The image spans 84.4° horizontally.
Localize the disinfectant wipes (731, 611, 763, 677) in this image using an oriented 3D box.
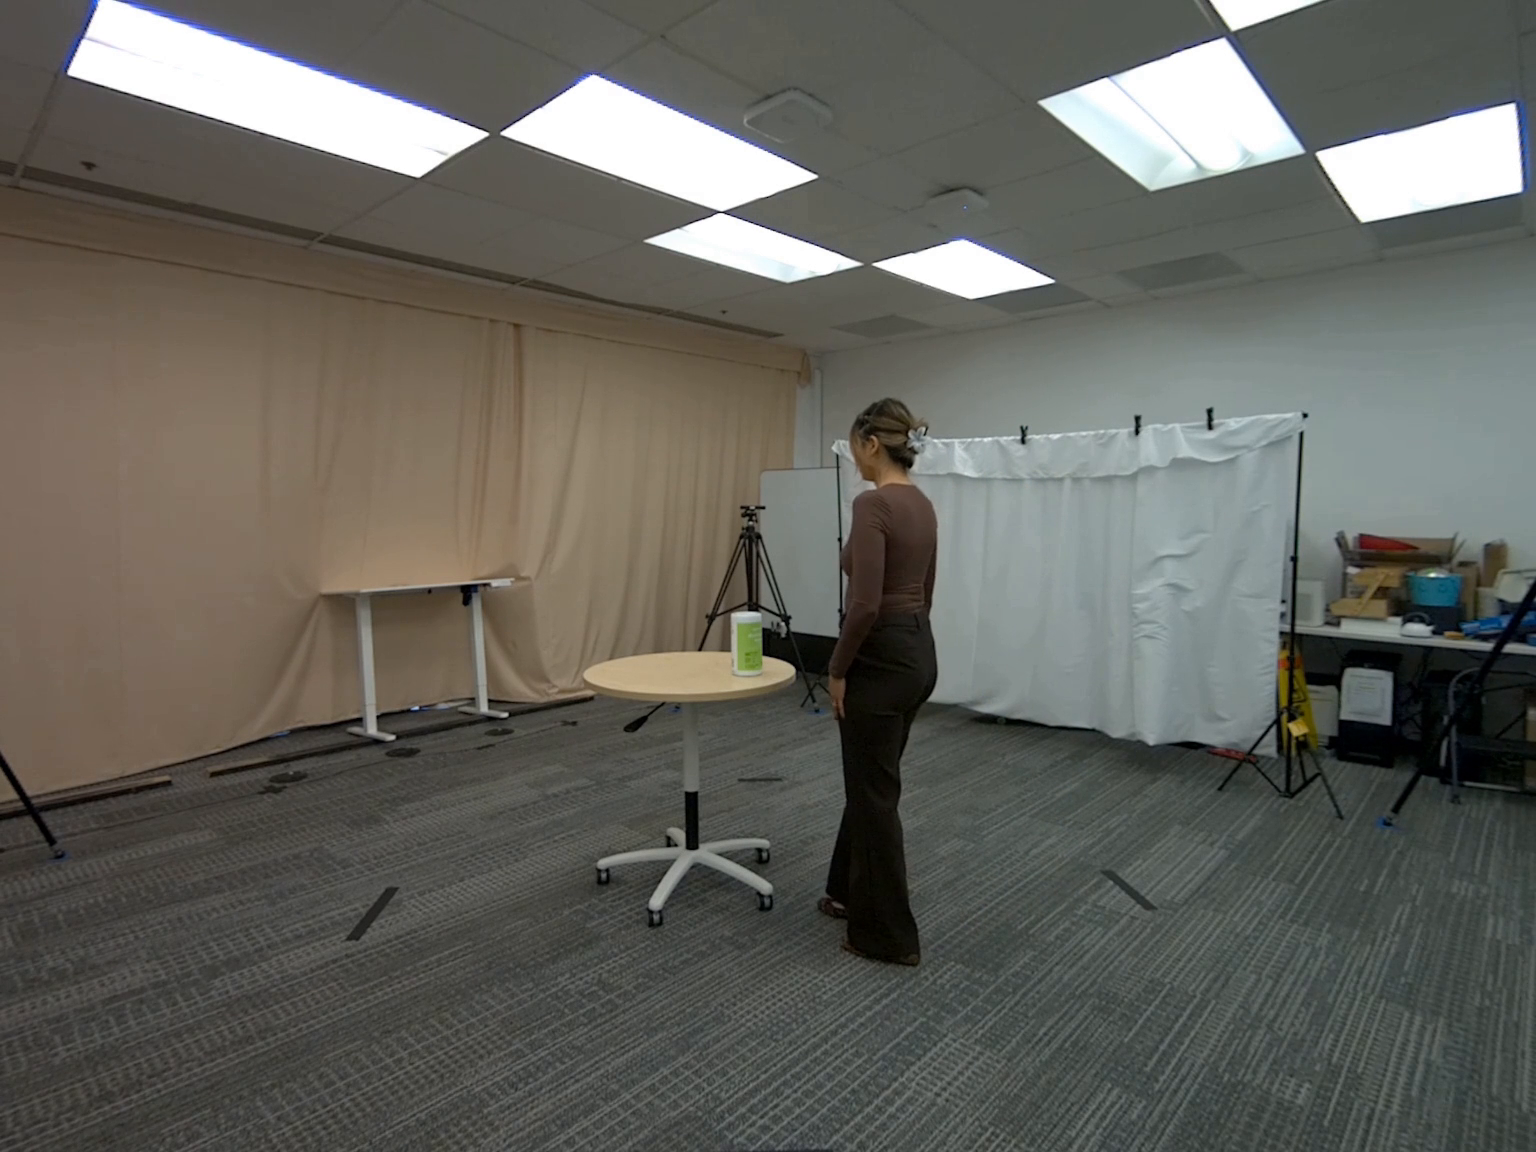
[{"bbox_3d":[-0.071,0.238,2.977,0.118,0.217,0.118,1,3,-2],"label":"disinfectant wipes"}]
